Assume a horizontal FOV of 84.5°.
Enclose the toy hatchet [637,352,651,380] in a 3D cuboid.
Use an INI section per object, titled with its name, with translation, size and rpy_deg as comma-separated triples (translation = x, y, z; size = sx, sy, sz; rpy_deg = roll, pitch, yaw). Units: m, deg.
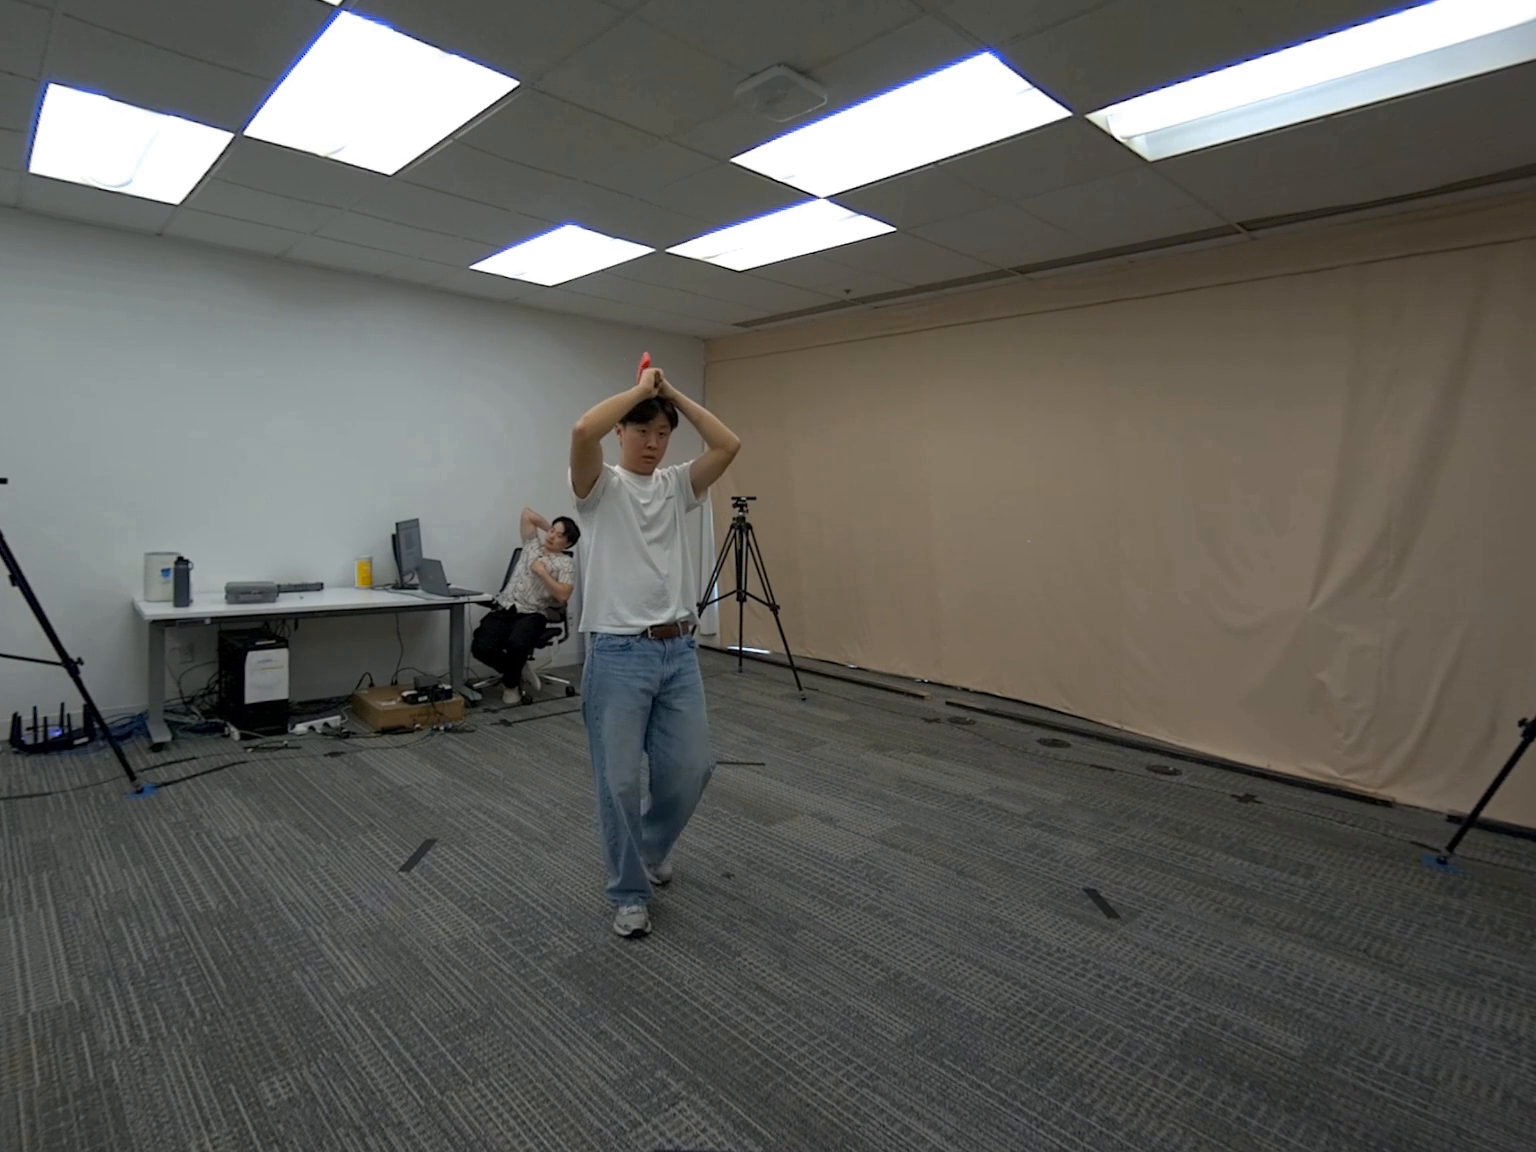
[toy hatchet]
translation = -0.405, -0.688, 2.781
size = 0.029, 0.131, 0.274
rpy_deg = 14, 4, -14
